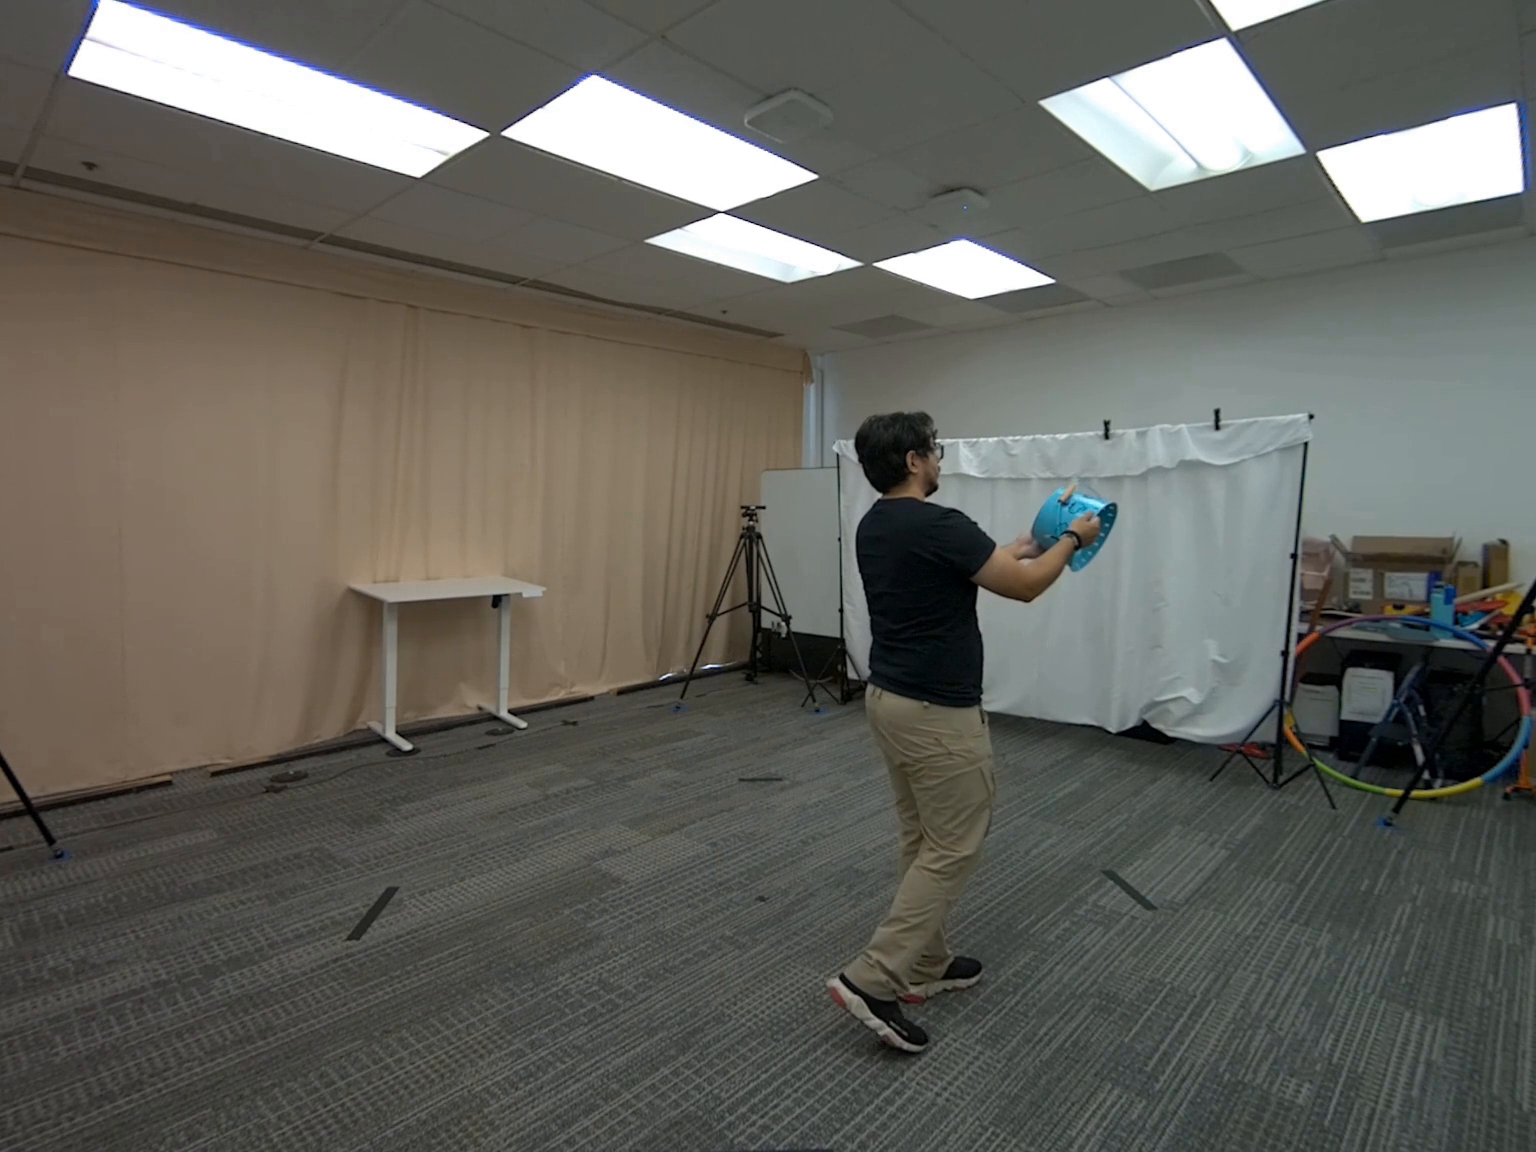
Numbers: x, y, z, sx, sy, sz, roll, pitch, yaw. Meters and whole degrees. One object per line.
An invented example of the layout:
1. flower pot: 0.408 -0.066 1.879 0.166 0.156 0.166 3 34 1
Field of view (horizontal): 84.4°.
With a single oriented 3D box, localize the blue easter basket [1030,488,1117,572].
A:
1. blue easter basket: 0.916 -0.153 2.515 0.161 0.242 0.236 35 24 33
